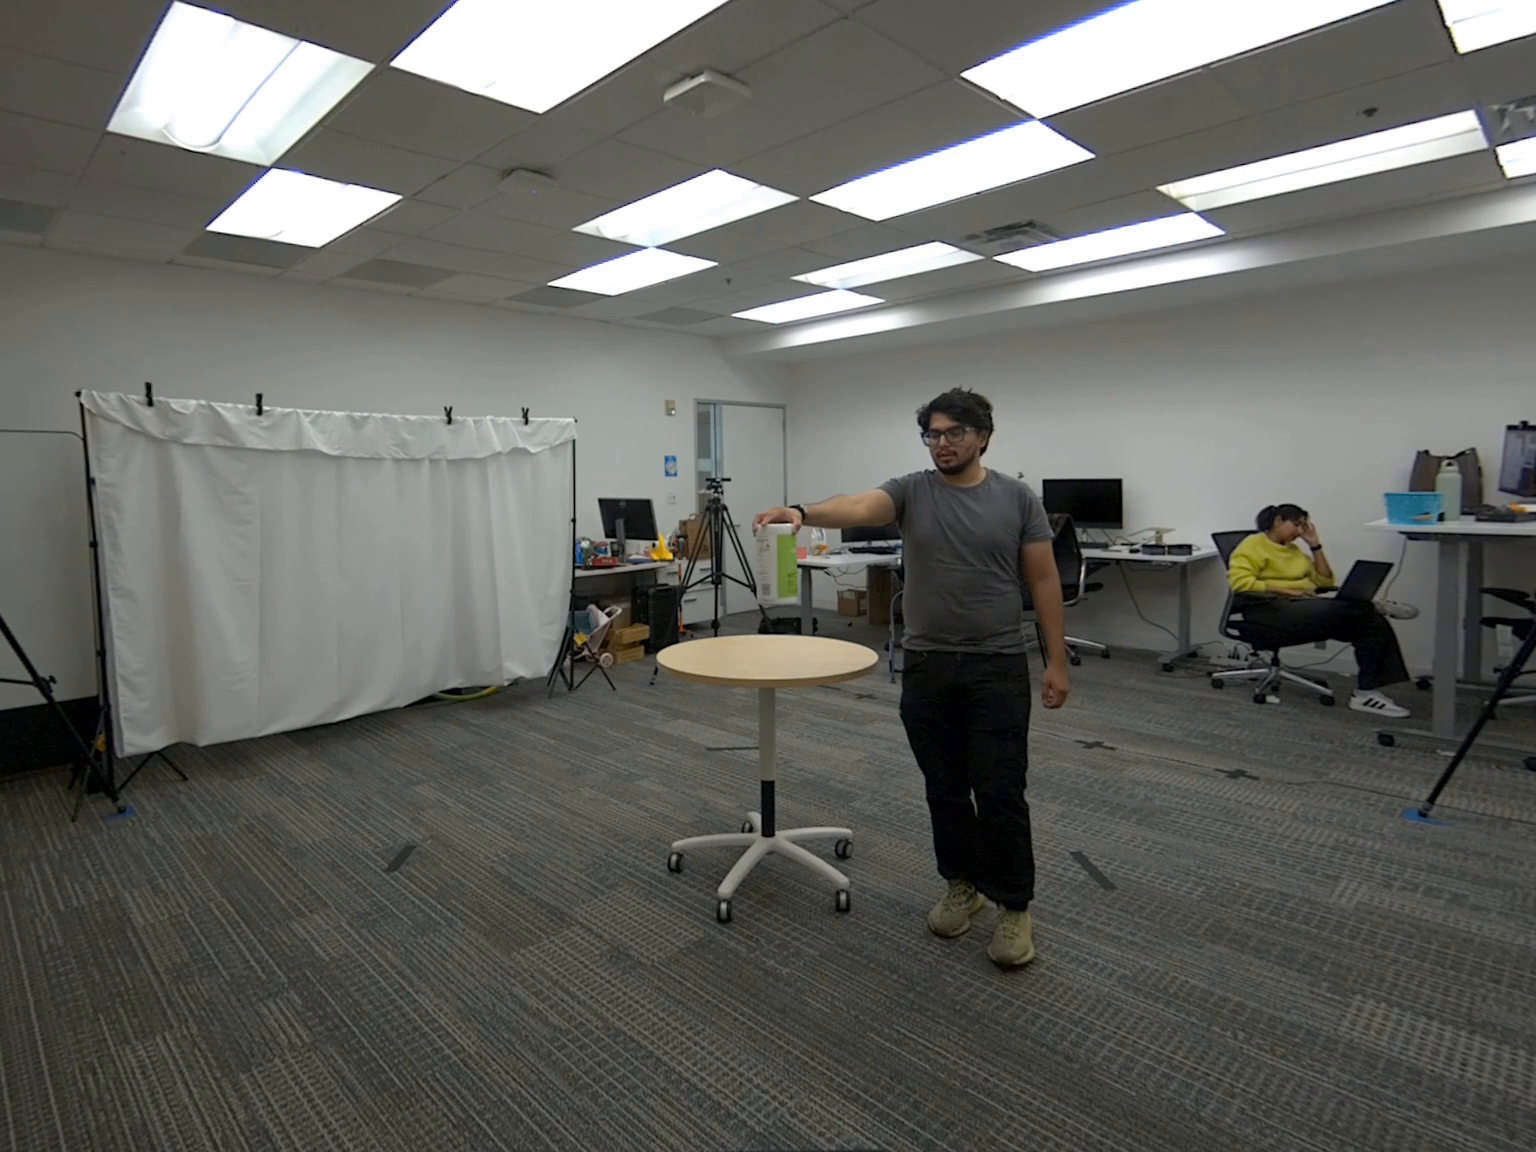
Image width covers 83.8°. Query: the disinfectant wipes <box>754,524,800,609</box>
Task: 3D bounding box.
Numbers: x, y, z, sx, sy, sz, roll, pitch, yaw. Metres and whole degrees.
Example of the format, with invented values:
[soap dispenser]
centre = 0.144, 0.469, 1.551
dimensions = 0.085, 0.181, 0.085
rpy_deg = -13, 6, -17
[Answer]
[disinfectant wipes]
centre = 0.035, -0.031, 2.290
dimensions = 0.118, 0.217, 0.118
rpy_deg = 0, 3, -2
